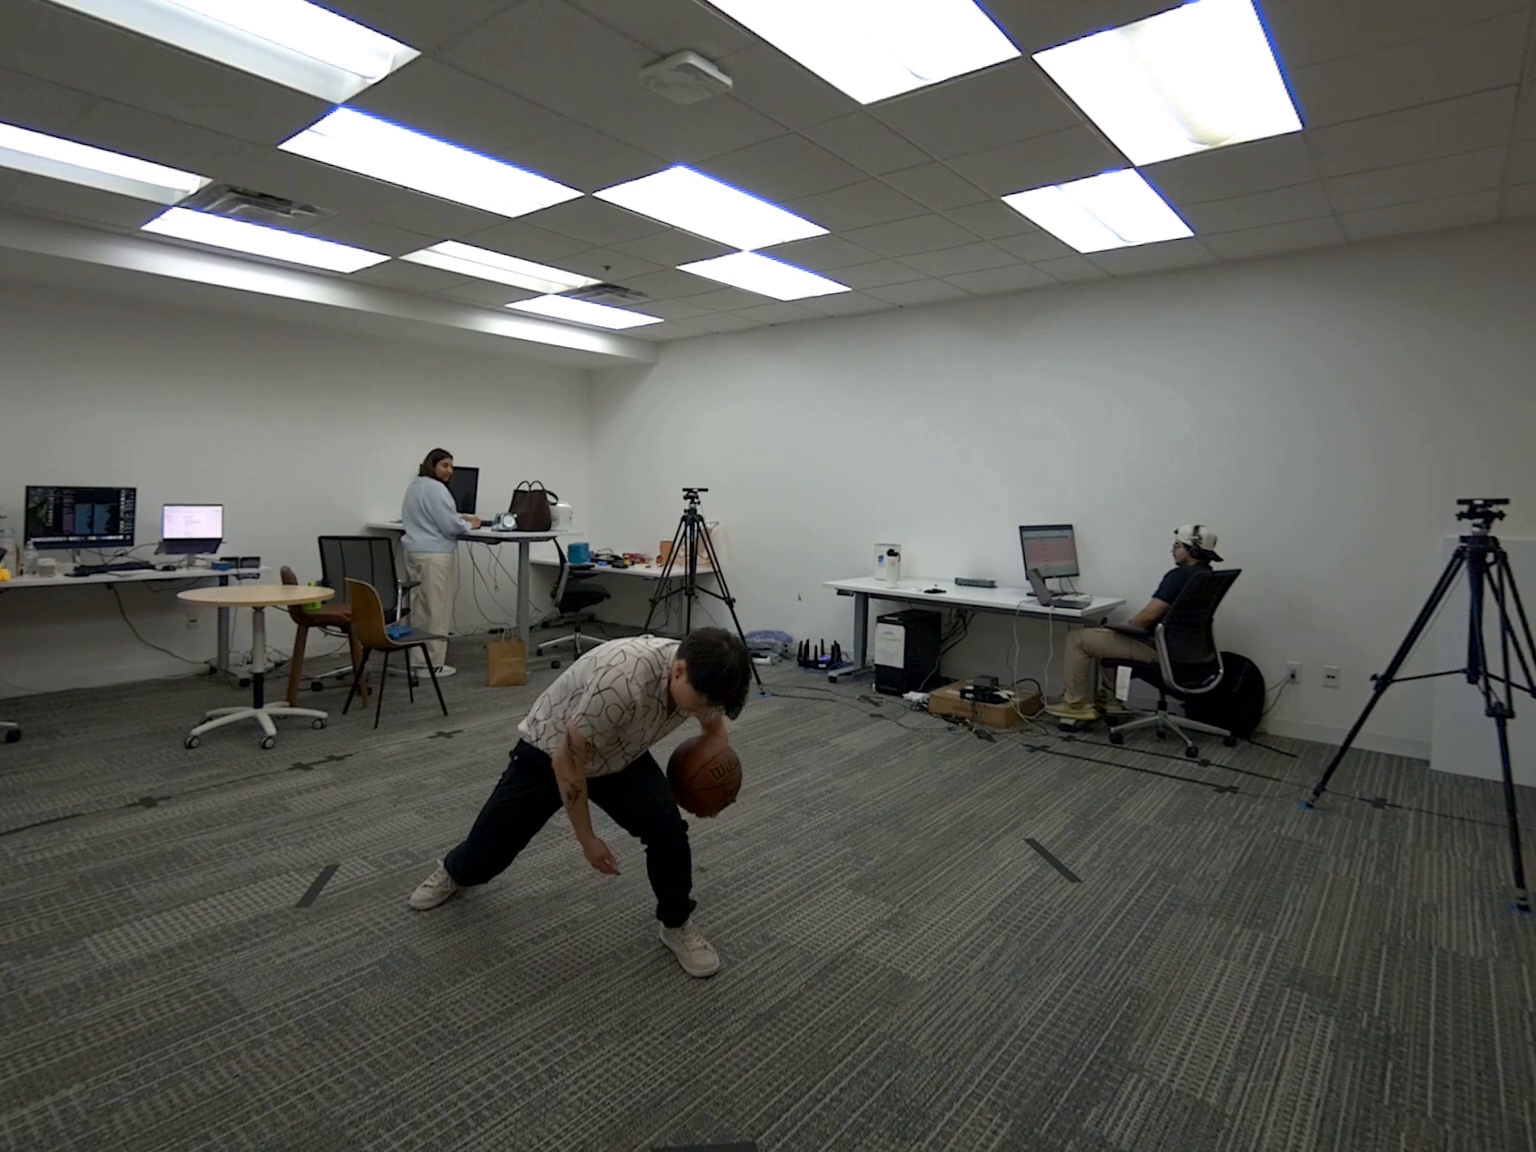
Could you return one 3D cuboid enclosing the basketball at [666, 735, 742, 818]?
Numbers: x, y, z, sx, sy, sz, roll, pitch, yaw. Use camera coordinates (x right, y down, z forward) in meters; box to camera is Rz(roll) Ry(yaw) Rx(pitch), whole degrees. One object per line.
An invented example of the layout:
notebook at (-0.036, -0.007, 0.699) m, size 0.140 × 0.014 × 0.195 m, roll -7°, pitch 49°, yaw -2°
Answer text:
basketball at (-0.213, 0.626, 2.643) m, size 0.235 × 0.235 × 0.237 m, roll 1°, pitch 4°, yaw -2°
